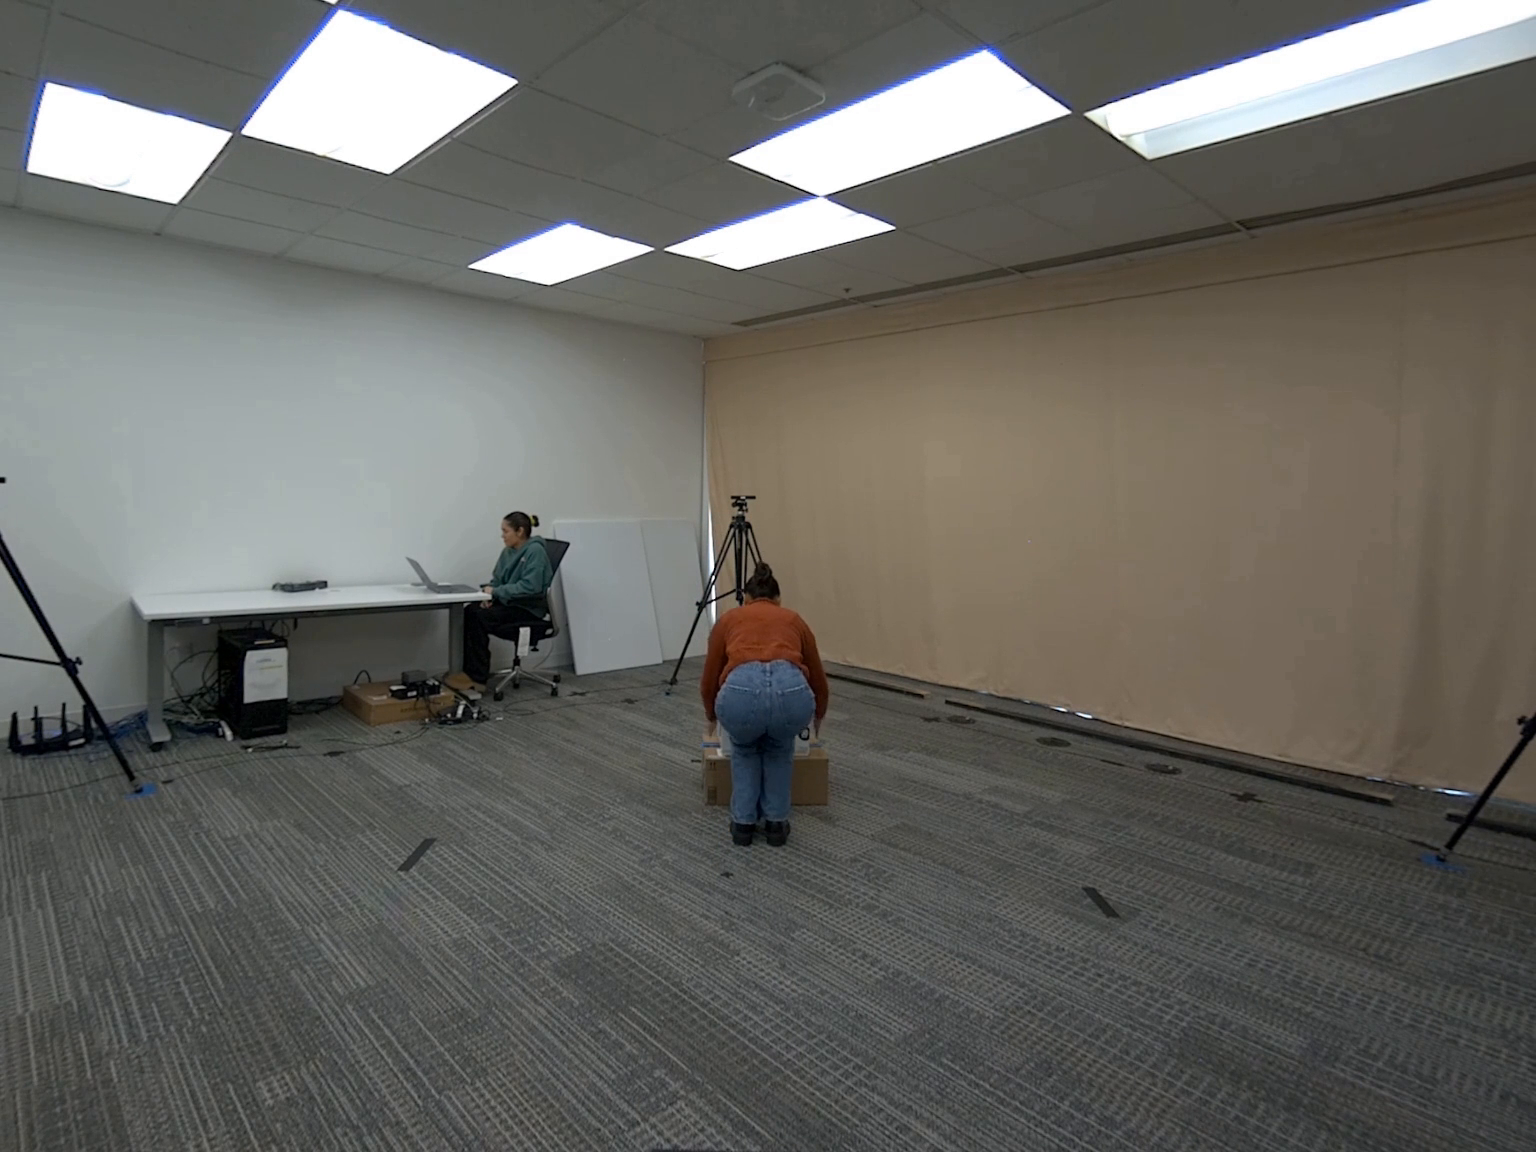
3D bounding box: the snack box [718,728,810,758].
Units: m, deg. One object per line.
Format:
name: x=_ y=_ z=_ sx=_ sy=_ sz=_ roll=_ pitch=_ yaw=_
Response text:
snack box: x=-0.034 y=0.712 z=4.011 sx=0.403 sy=0.205 sz=0.343 roll=1 pitch=5 yaw=-6
